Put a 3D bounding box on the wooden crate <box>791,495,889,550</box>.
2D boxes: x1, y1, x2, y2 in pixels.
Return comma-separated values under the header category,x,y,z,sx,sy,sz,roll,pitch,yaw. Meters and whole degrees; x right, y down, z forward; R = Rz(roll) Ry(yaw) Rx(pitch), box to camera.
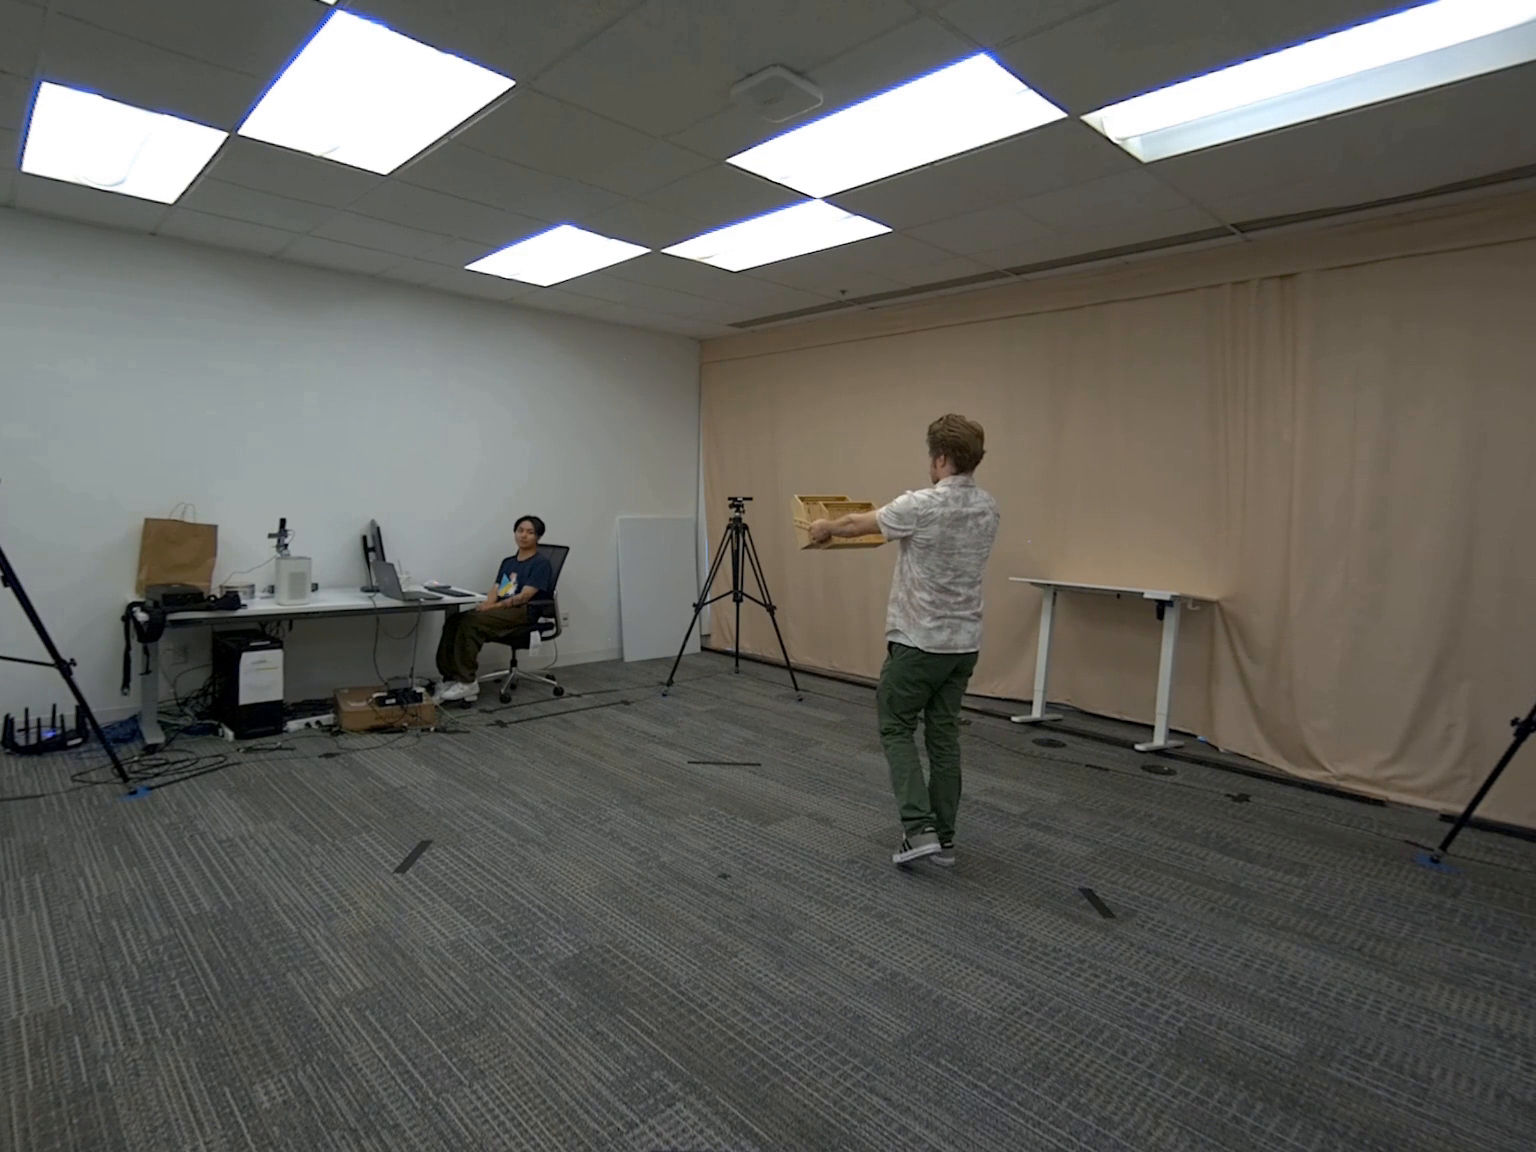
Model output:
category,x,y,z,sx,sy,sz,roll,pitch,yaw
wooden crate,0.308,-0.259,3.829,0.318,0.306,0.275,-2,-16,-30
